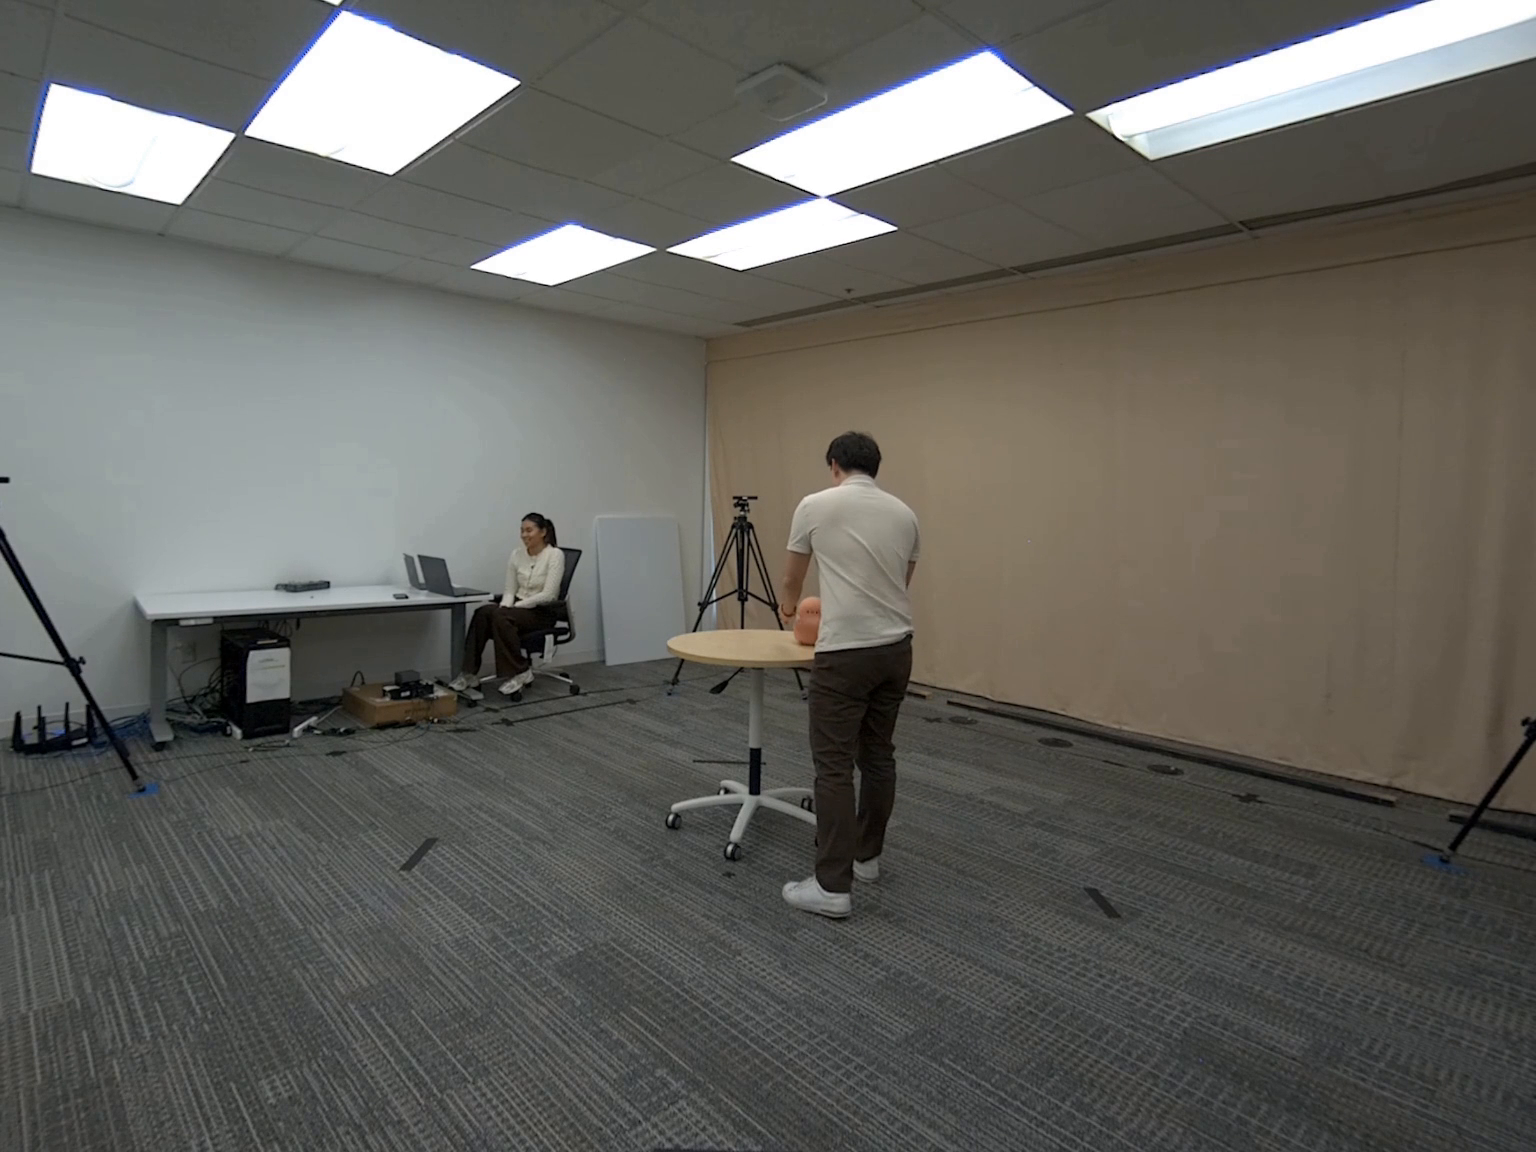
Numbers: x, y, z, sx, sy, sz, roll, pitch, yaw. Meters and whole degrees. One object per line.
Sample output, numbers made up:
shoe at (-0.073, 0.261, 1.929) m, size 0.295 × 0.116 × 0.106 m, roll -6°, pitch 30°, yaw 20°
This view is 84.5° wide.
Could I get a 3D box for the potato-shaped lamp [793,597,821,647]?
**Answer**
potato-shaped lamp at (0.181, 0.186, 3.556) m, size 0.166 × 0.197 × 0.171 m, roll 6°, pitch 8°, yaw 6°
